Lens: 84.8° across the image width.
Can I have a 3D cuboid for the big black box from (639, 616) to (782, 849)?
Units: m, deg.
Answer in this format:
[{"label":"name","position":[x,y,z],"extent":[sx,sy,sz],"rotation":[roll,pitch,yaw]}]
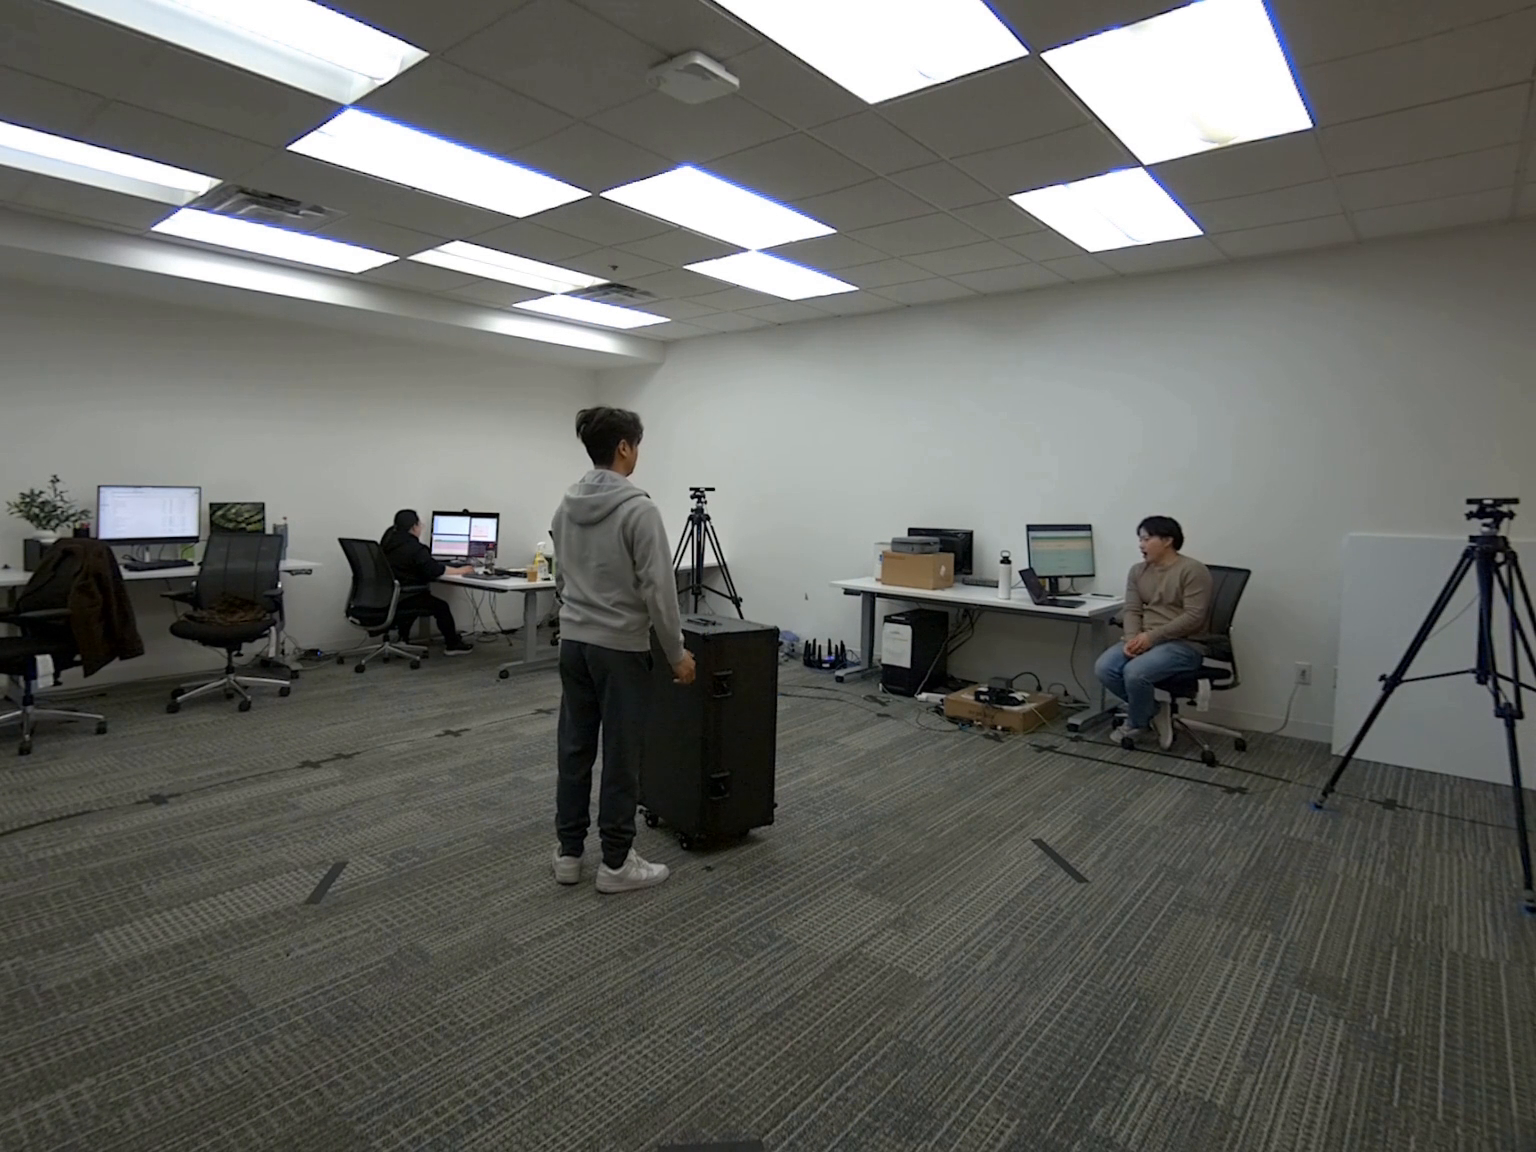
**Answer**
[{"label":"big black box","position":[-0.255,0.609,3.453],"extent":[0.384,0.860,0.538],"rotation":[1,3,-36]}]
